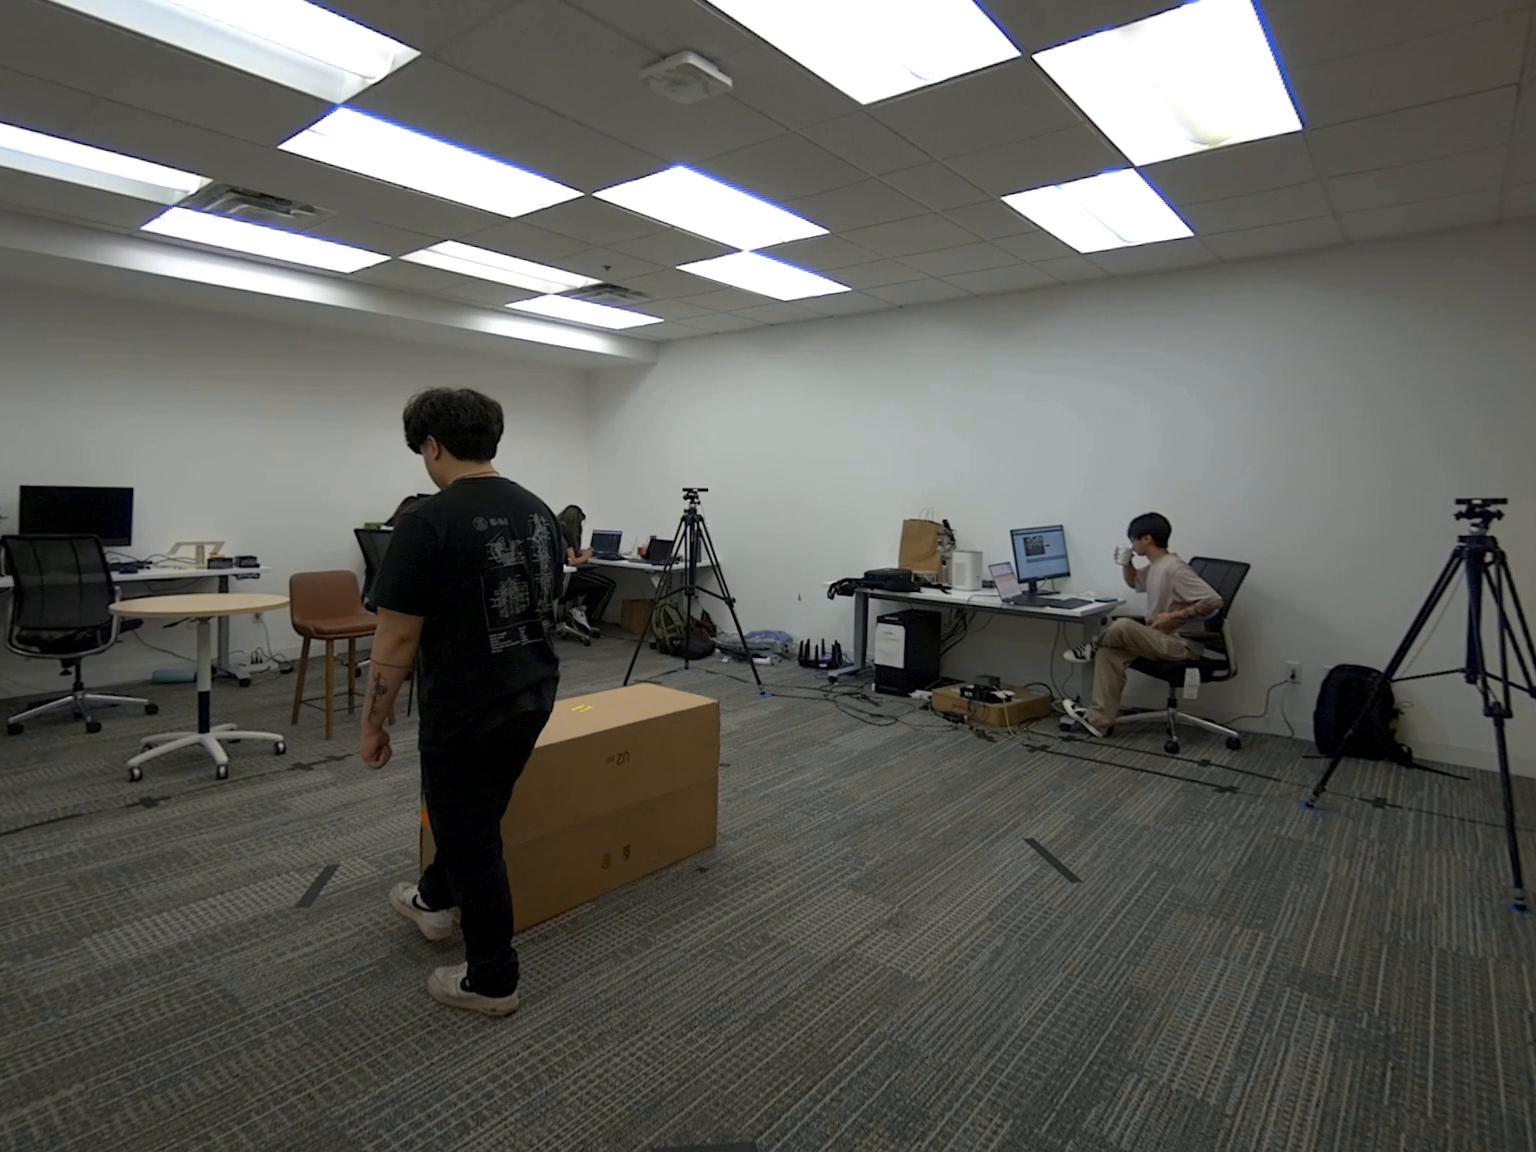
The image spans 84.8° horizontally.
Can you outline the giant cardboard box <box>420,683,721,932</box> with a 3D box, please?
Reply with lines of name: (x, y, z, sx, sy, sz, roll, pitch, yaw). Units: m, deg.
giant cardboard box: (-0.680, 0.780, 3.077, 0.461, 0.582, 0.996, 3, 4, 39)
